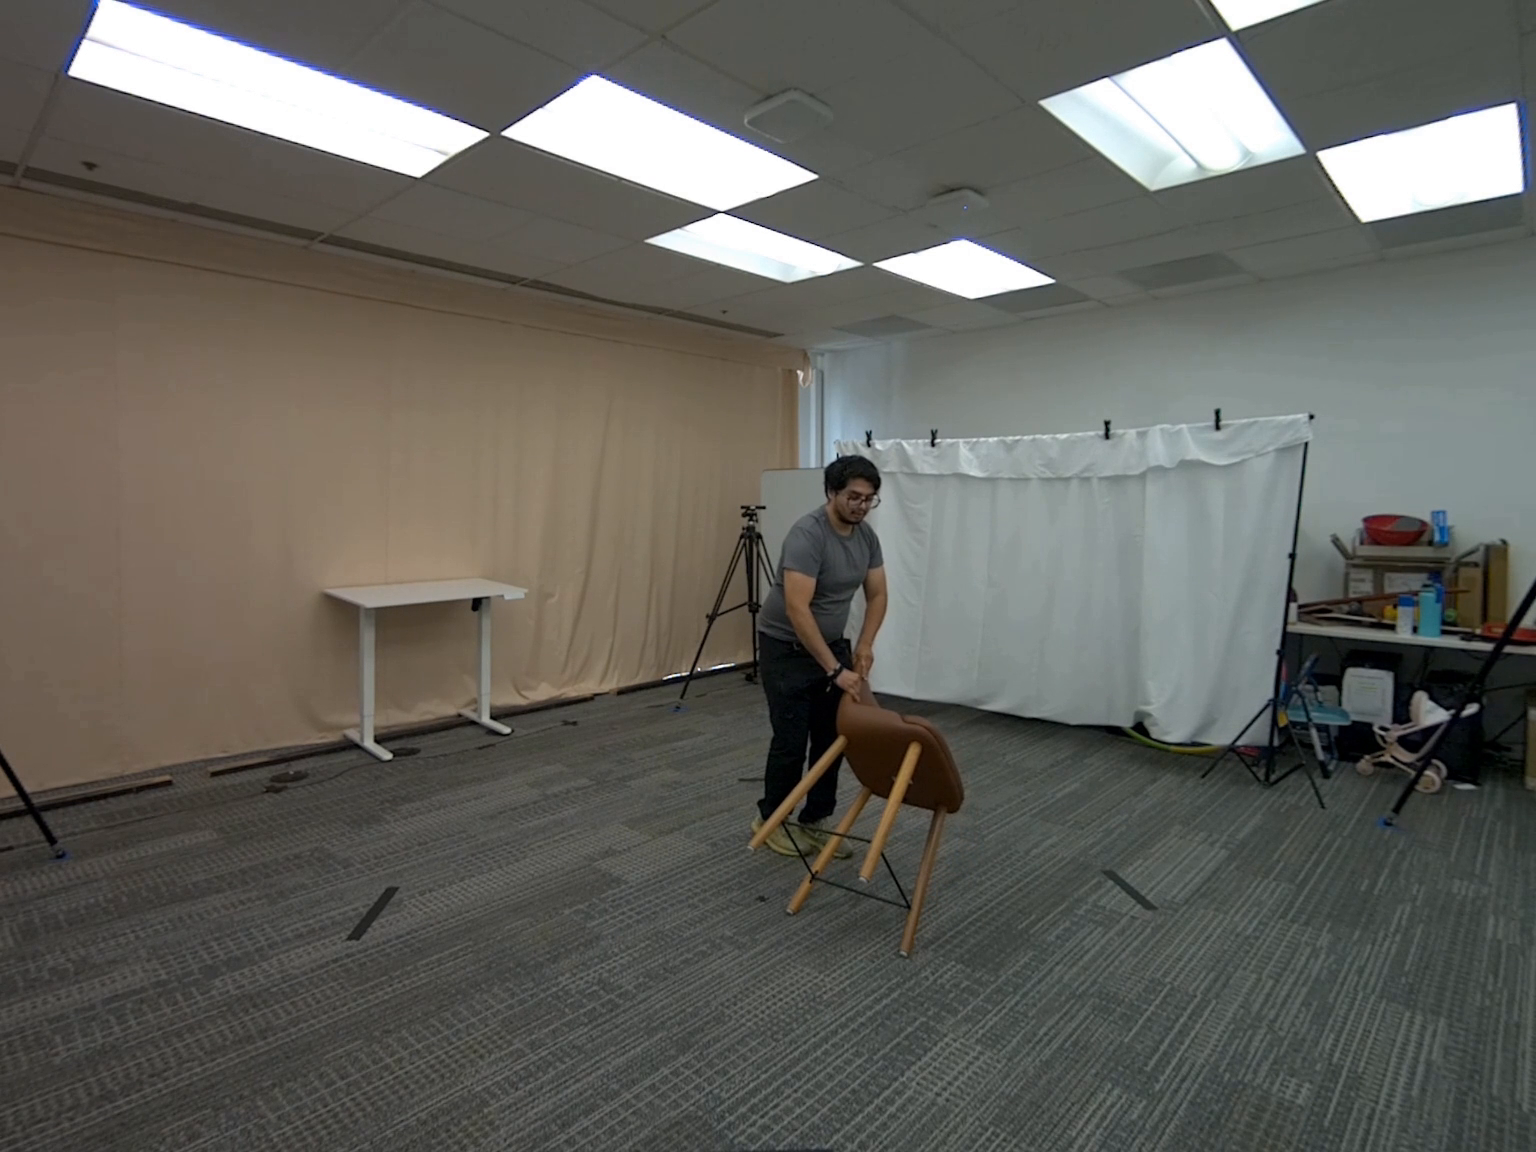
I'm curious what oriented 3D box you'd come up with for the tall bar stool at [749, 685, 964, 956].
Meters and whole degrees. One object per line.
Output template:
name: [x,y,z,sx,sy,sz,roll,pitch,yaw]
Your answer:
tall bar stool: [0.382,0.740,2.904,0.482,0.444,0.886,-2,39,37]
